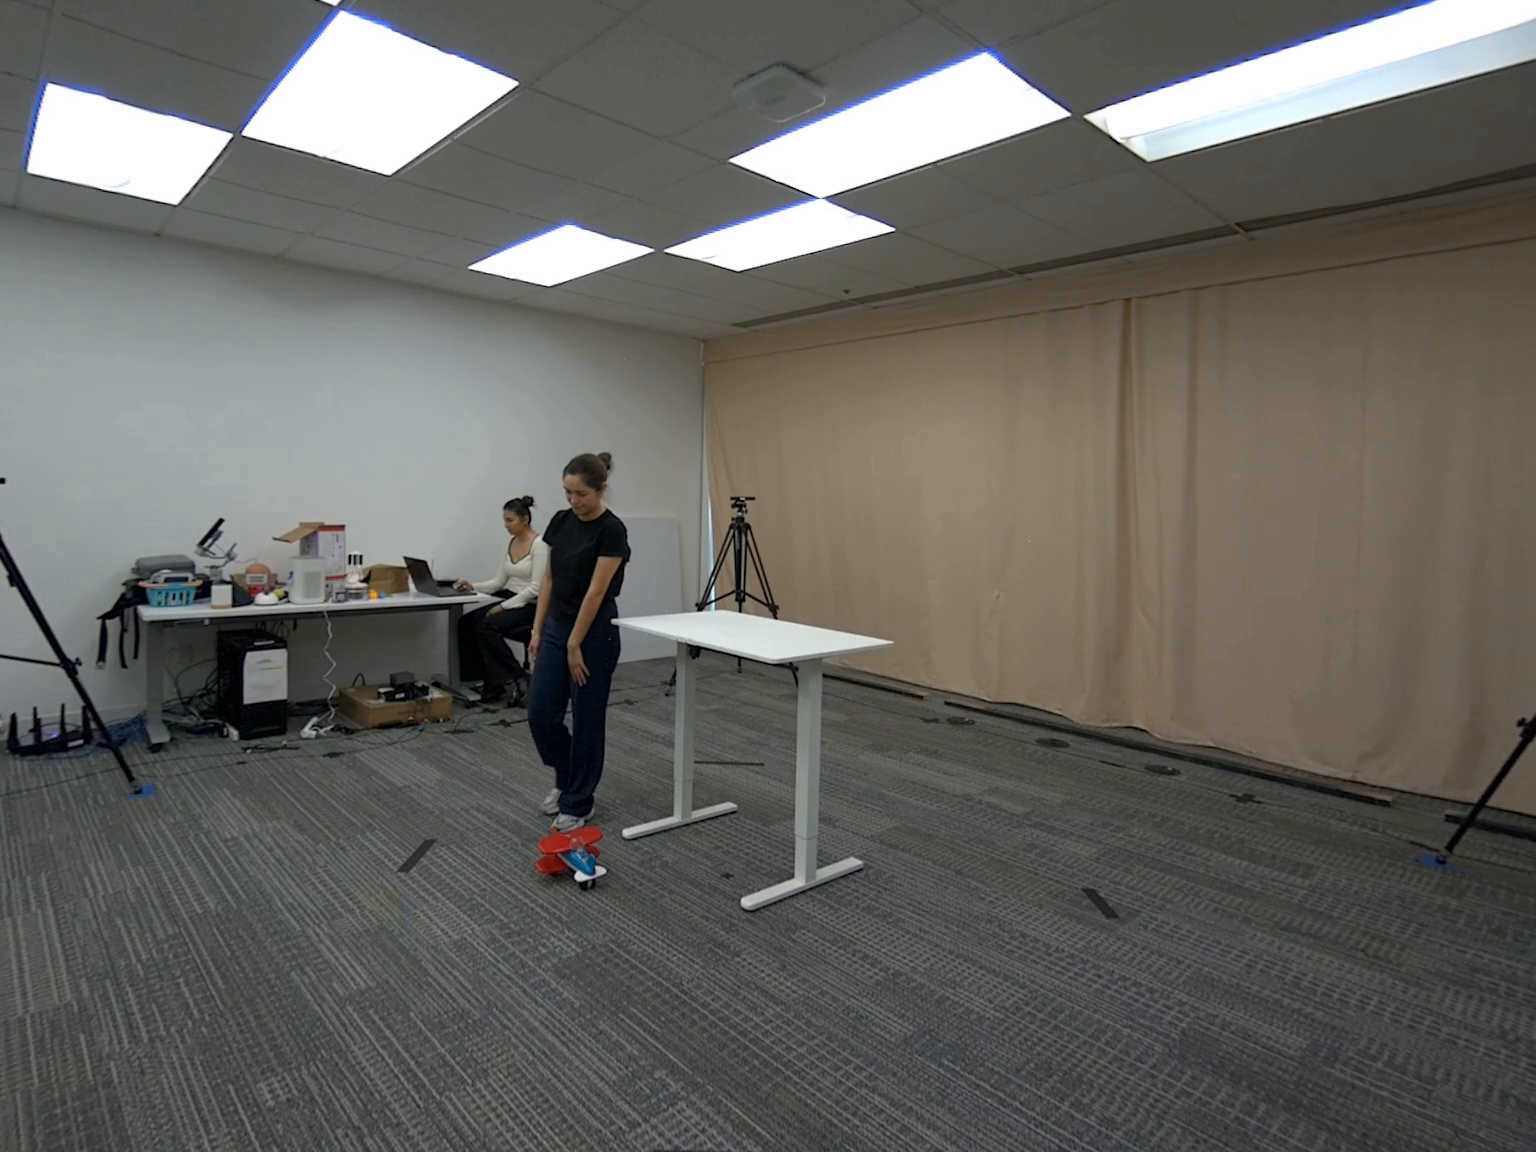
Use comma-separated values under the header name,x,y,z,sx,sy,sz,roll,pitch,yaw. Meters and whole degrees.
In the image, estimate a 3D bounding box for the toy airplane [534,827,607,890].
name,x,y,z,sx,sy,sz,roll,pitch,yaw
toy airplane,-0.692,1.024,3.043,0.263,0.156,0.248,2,5,19
